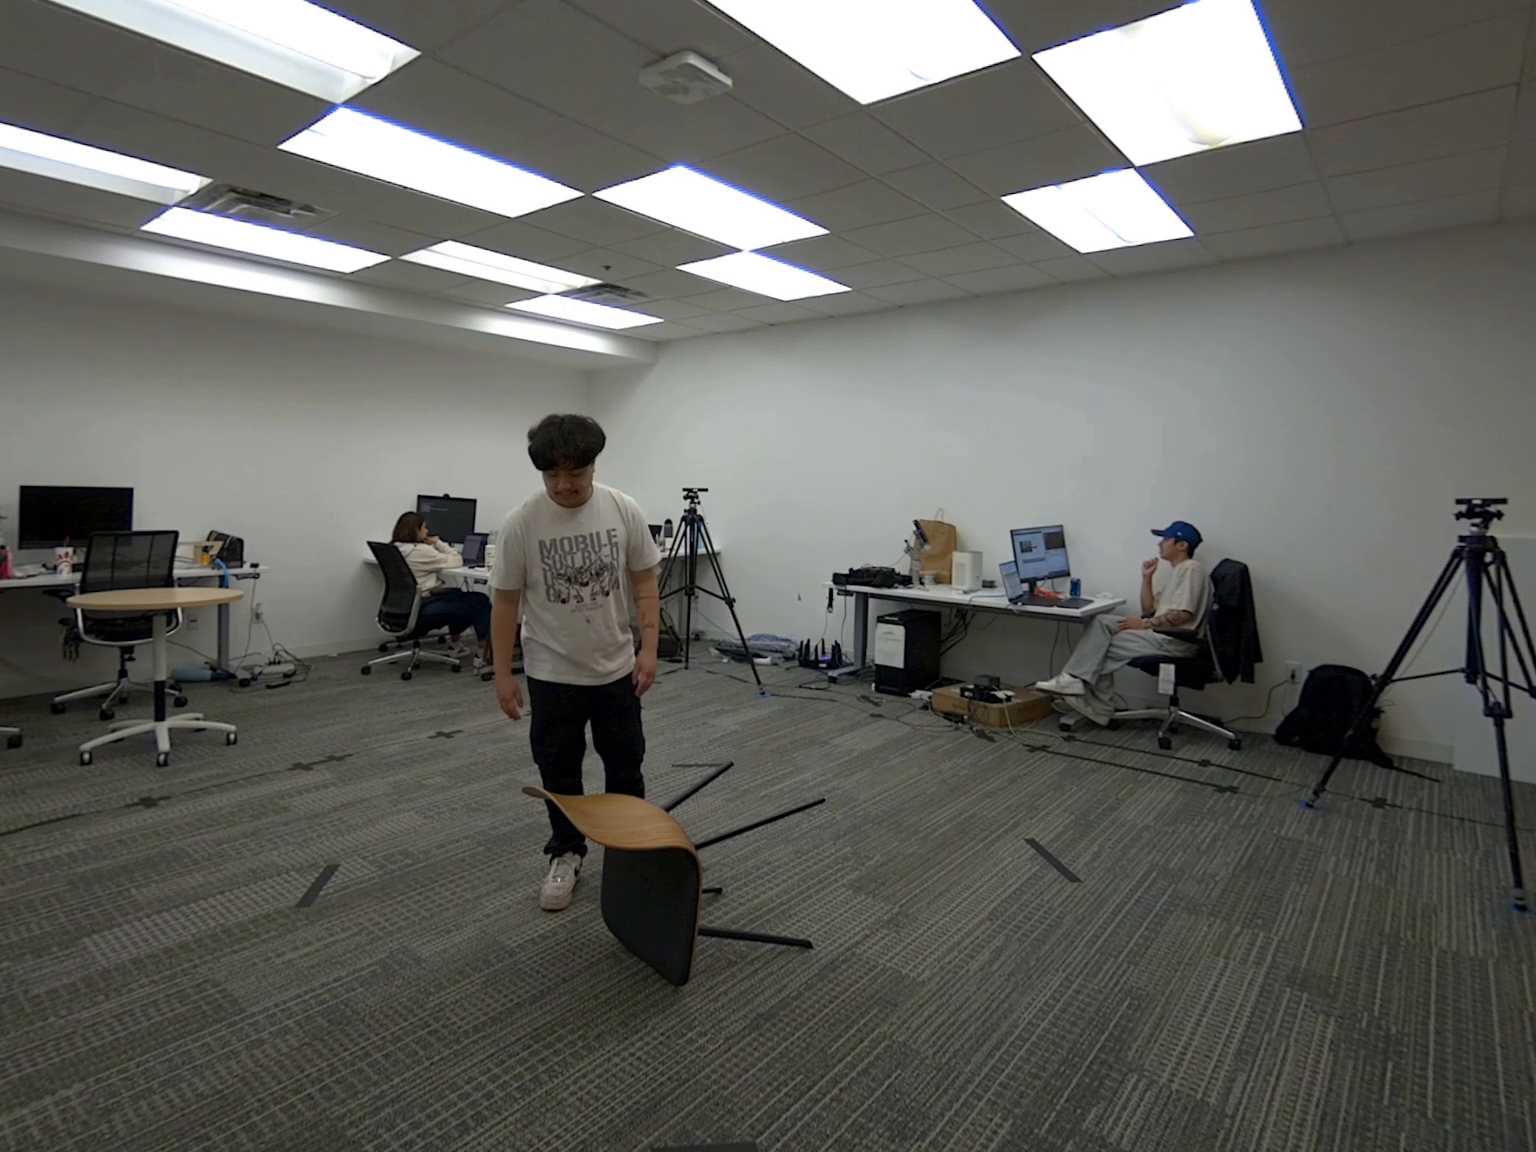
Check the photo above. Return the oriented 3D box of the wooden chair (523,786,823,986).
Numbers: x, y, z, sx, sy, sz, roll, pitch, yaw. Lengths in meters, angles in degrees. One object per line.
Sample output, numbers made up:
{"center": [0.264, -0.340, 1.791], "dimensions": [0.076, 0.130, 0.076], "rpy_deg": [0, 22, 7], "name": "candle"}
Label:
{"center": [-0.316, 0.874, 2.494], "dimensions": [0.846, 0.524, 0.494], "rpy_deg": [9, -2, -41], "name": "wooden chair"}
